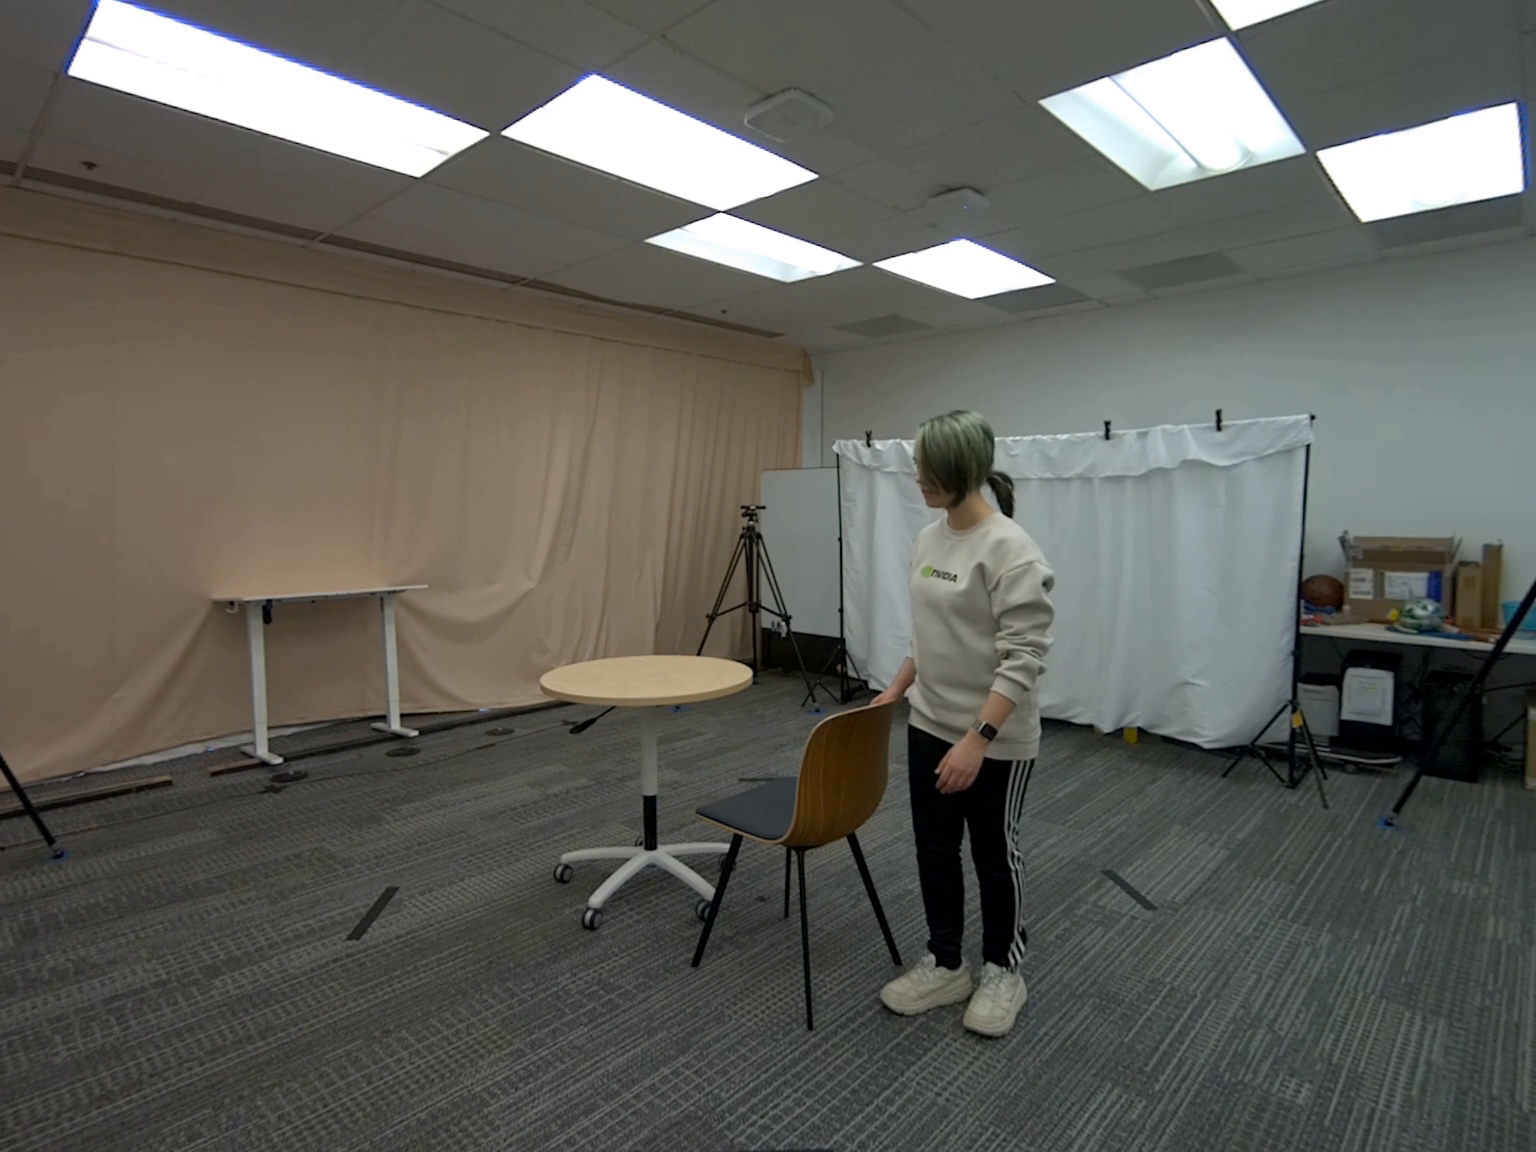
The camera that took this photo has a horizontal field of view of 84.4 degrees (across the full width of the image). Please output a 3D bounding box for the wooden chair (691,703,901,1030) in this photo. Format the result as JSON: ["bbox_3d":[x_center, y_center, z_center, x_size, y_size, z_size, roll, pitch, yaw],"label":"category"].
[{"bbox_3d":[0.082,0.753,2.525,0.541,0.874,0.463,9,9,42],"label":"wooden chair"}]
